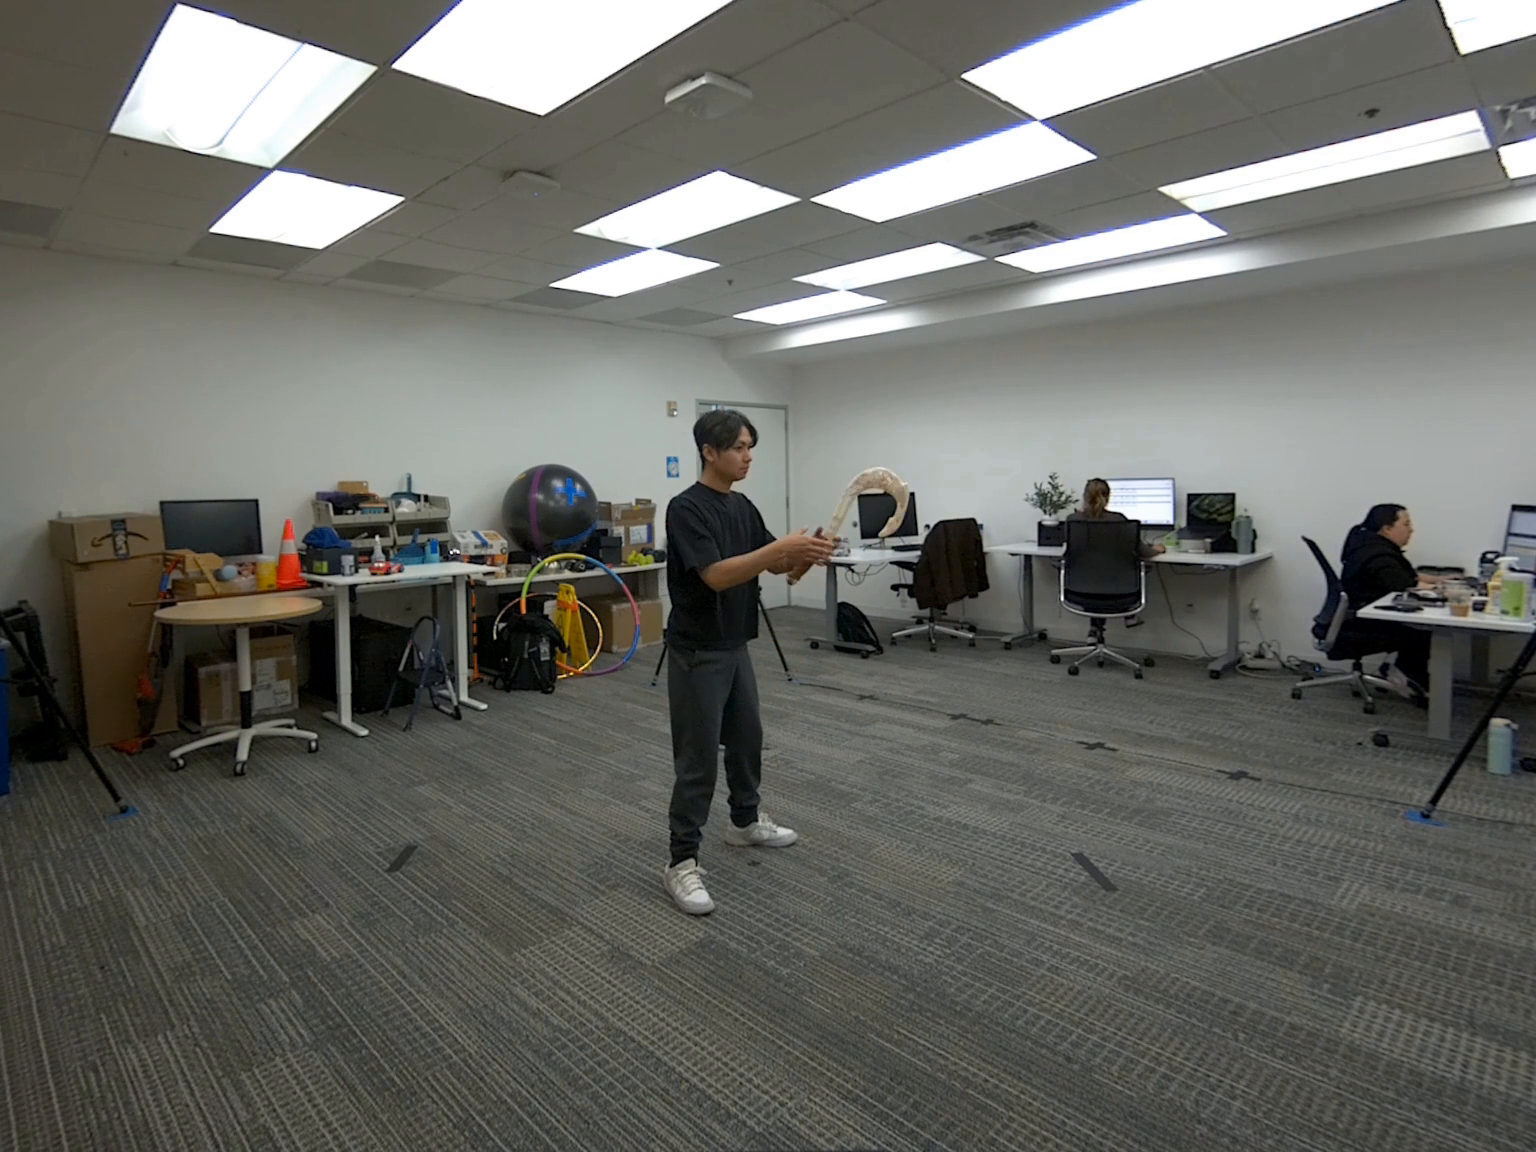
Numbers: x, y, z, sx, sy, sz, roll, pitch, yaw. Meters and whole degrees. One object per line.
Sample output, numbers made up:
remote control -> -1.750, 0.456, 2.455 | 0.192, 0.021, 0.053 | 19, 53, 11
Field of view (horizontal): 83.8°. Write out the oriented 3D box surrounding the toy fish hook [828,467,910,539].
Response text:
toy fish hook -> 0.257, -0.094, 2.823 | 0.232, 0.506, 0.047 | 41, 3, 25
